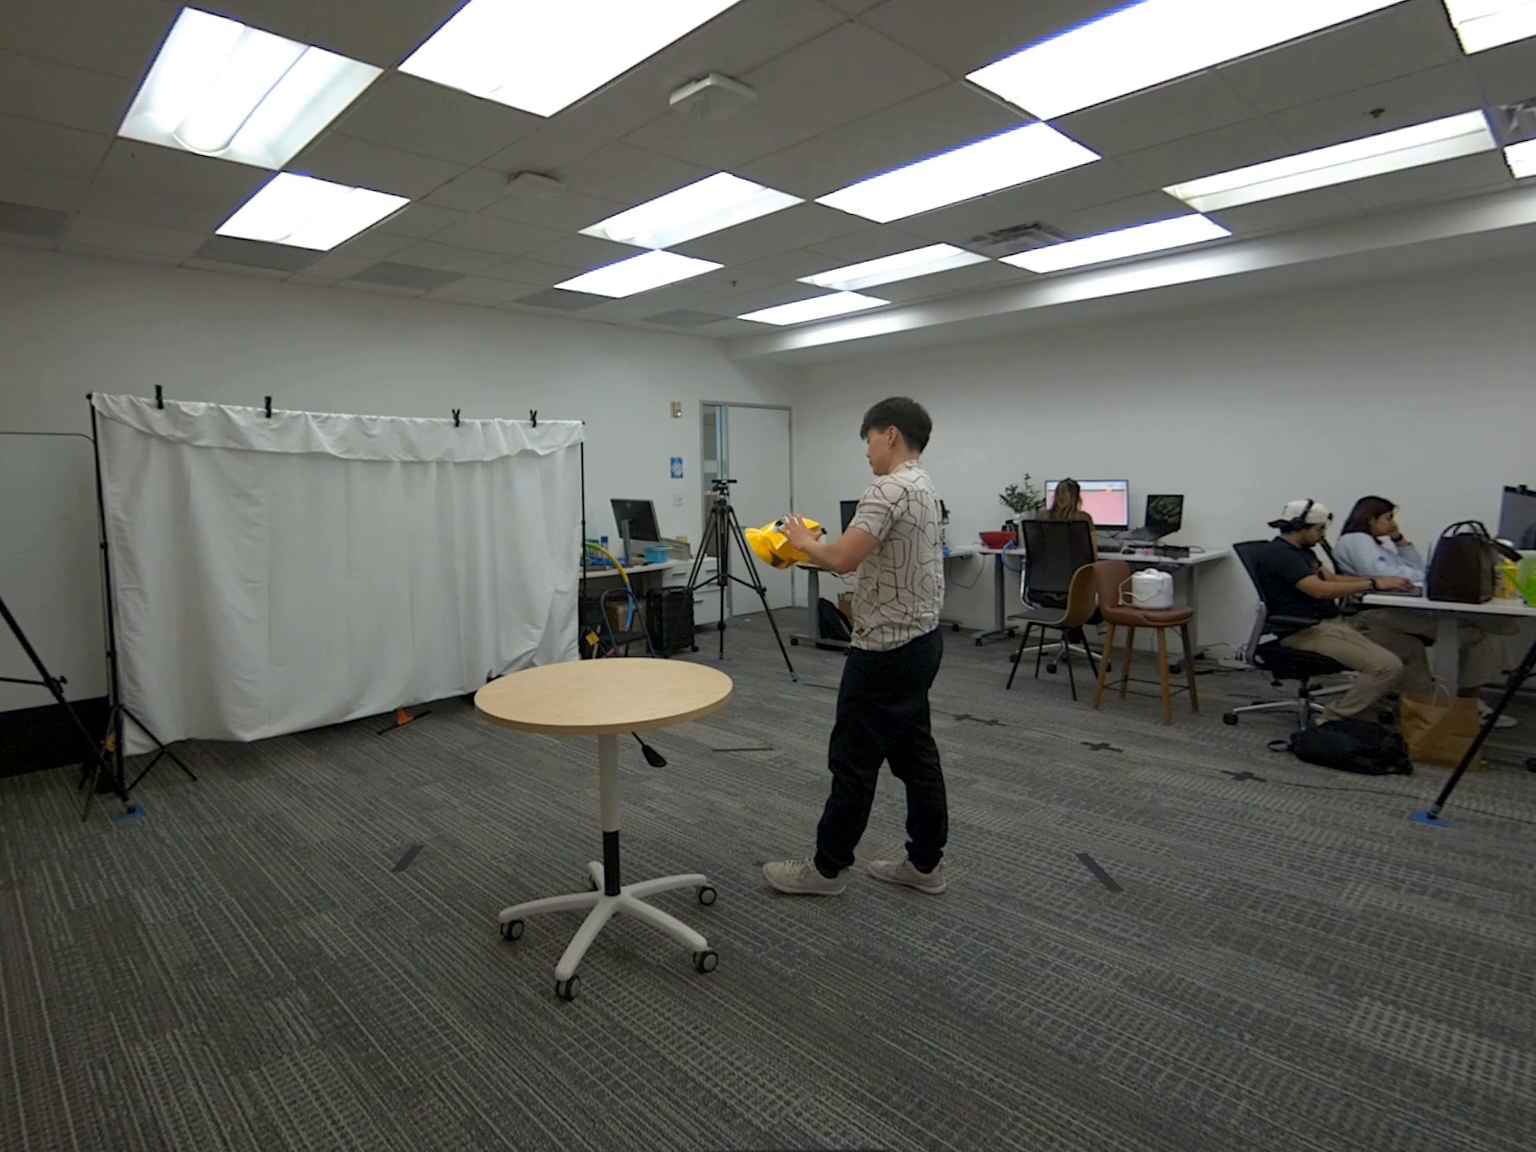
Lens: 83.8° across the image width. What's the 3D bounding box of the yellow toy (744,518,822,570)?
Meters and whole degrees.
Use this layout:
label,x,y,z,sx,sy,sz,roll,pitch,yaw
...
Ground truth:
label,x,y,z,sx,sy,sz,roll,pitch,yaw
yellow toy,0.070,-0.154,3.090,0.231,0.200,0.197,-40,-36,20
